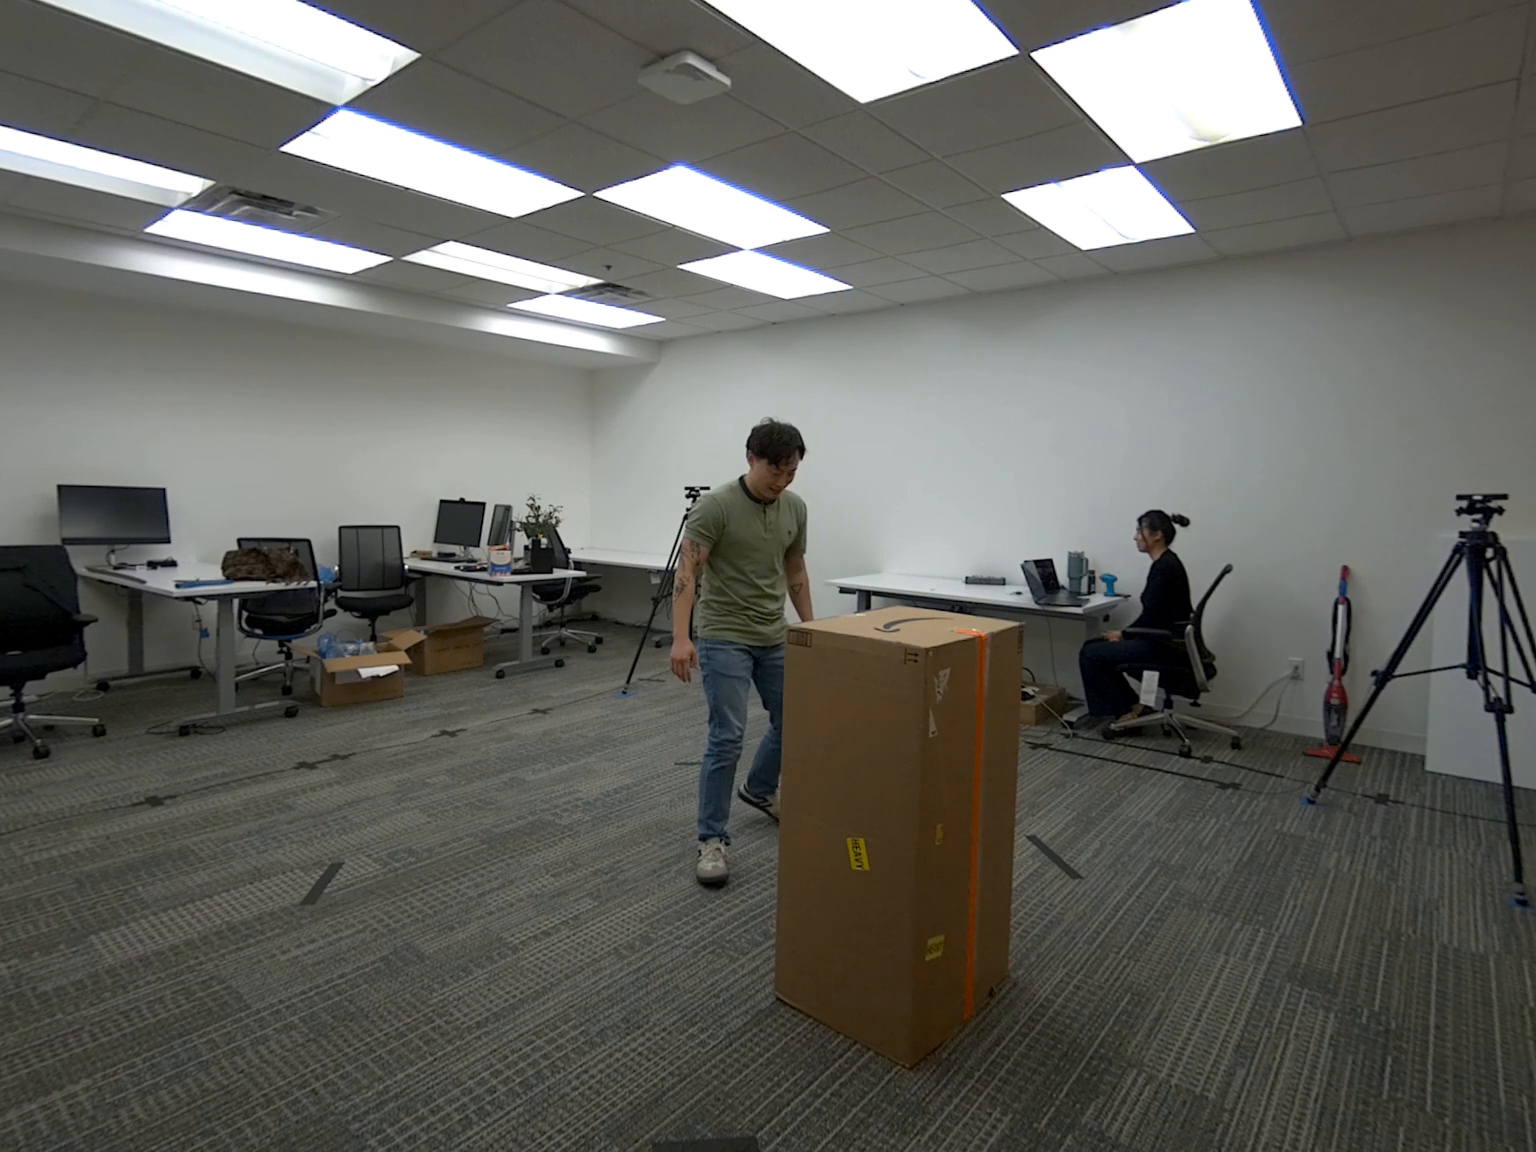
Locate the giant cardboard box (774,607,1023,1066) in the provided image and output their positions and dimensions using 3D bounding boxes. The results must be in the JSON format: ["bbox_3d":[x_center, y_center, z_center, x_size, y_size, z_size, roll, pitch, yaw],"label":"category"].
[{"bbox_3d":[0.368,0.637,2.365,0.440,1.022,0.560,4,5,39],"label":"giant cardboard box"}]
